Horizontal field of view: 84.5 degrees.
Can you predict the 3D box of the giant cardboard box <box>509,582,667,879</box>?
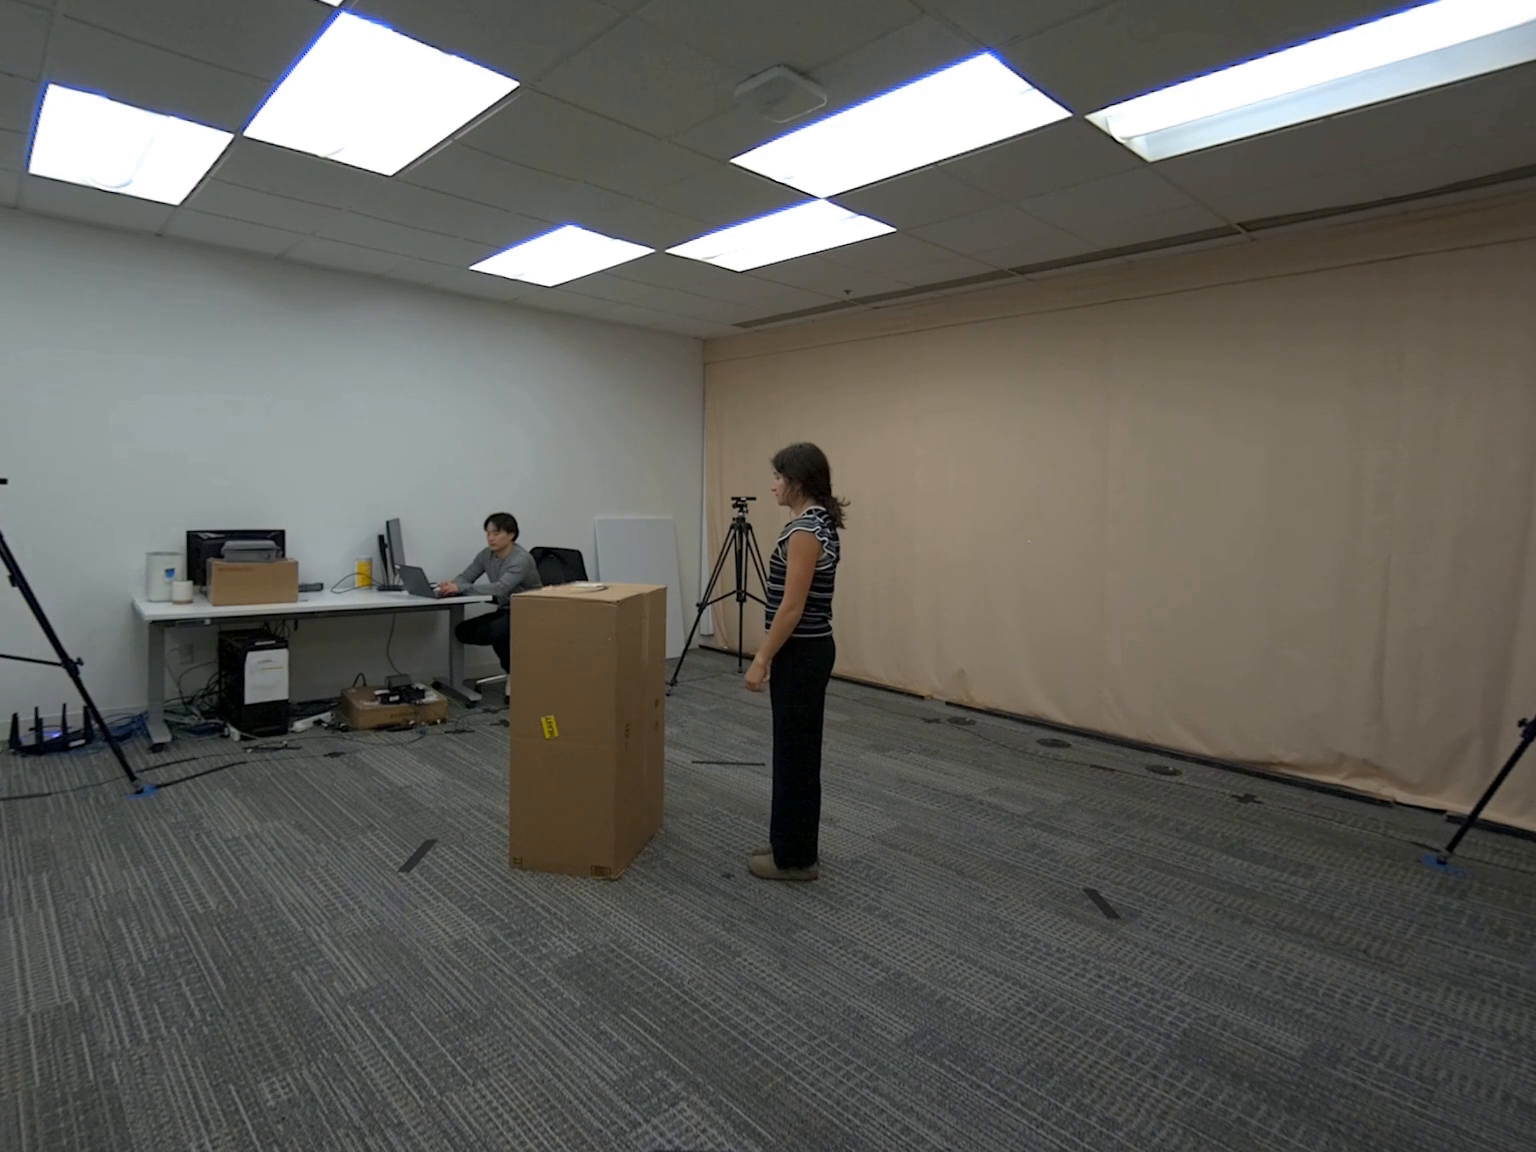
[{"bbox_3d":[-0.700,0.561,3.338,0.431,1.023,0.573,2,3,12],"label":"giant cardboard box"}]
